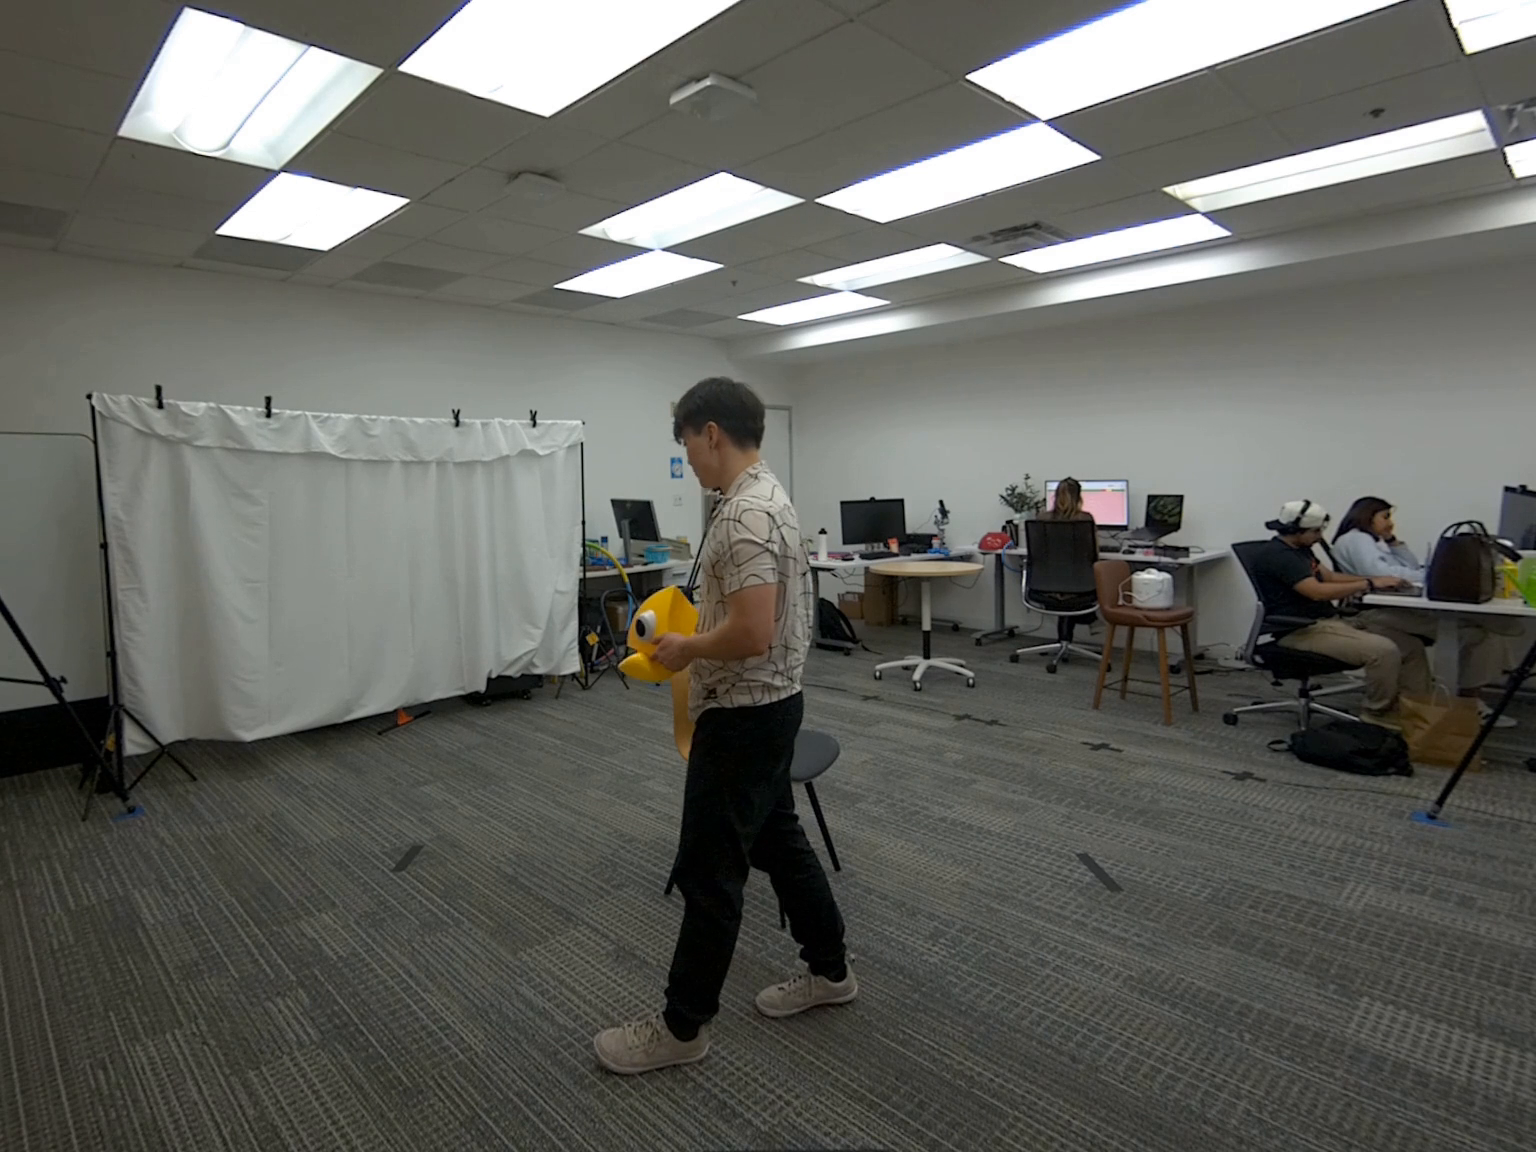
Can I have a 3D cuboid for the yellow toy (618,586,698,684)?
[{"bbox_3d":[-0.278,0.114,2.199,0.197,0.226,0.204,8,27,21],"label":"yellow toy"}]
